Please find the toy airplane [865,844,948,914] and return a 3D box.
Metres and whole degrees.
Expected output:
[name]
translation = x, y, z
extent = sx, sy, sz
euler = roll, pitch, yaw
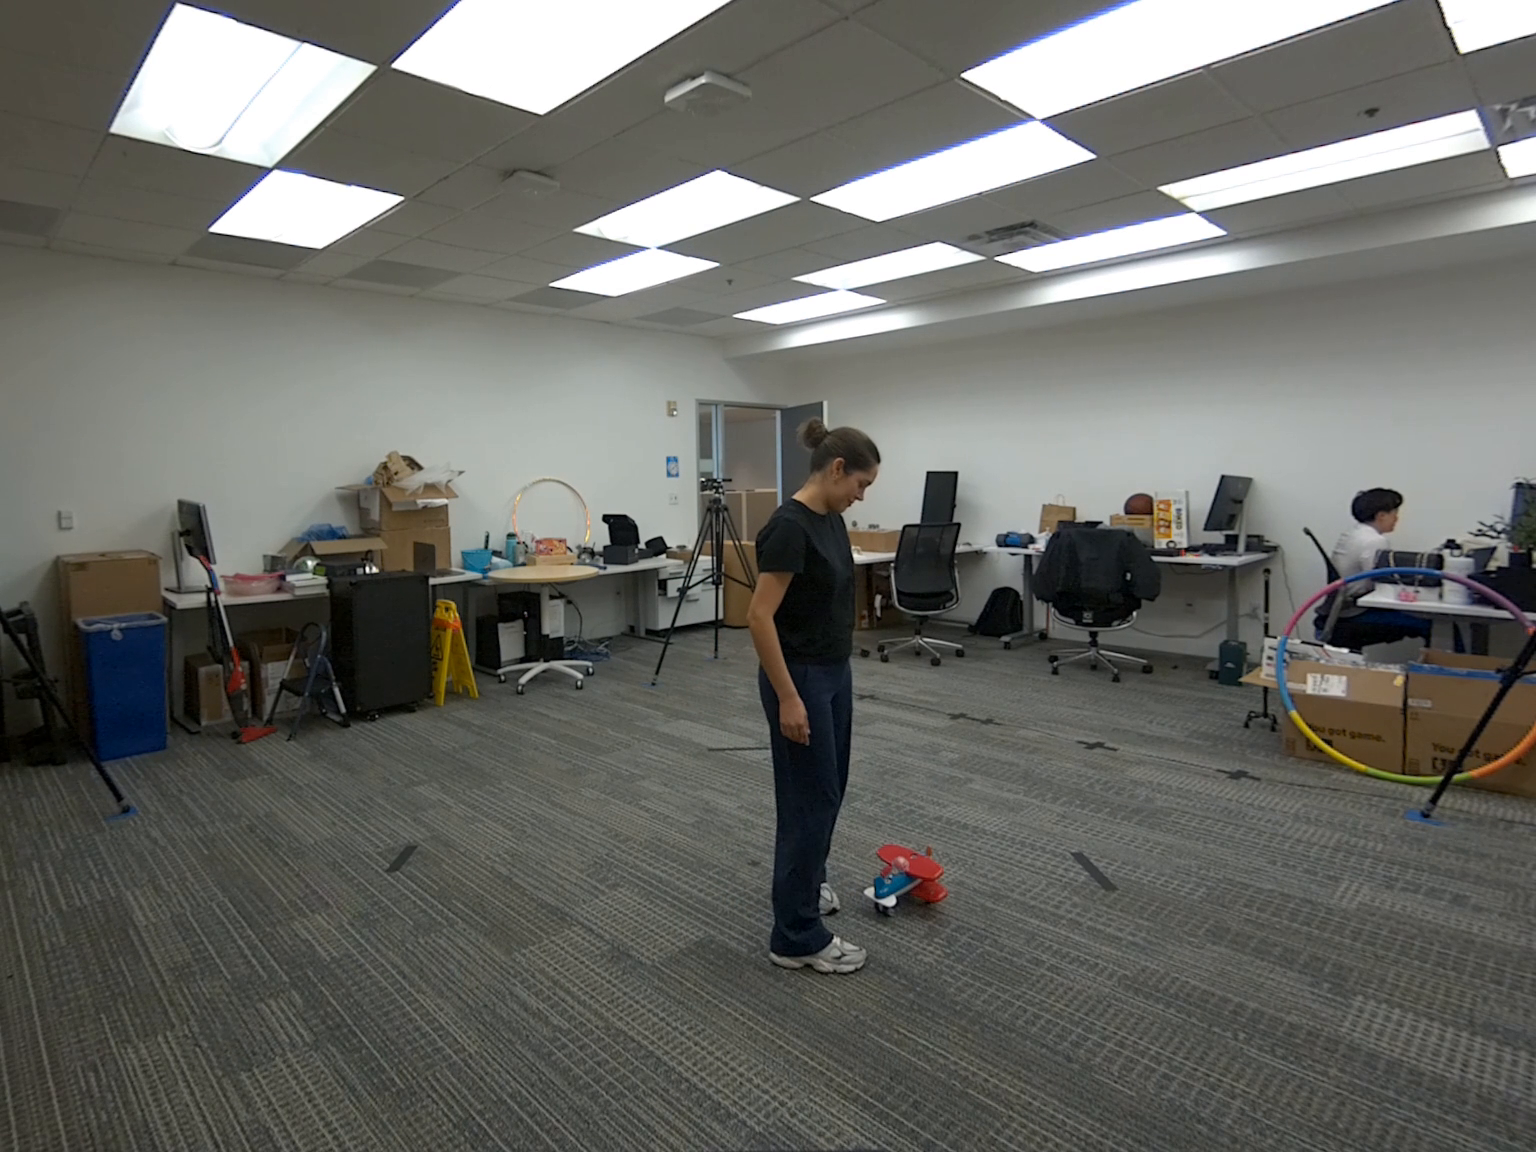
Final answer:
[toy airplane]
translation = 0.452, 0.992, 2.772
extent = 0.257, 0.156, 0.254
euler = 1, 4, 25
